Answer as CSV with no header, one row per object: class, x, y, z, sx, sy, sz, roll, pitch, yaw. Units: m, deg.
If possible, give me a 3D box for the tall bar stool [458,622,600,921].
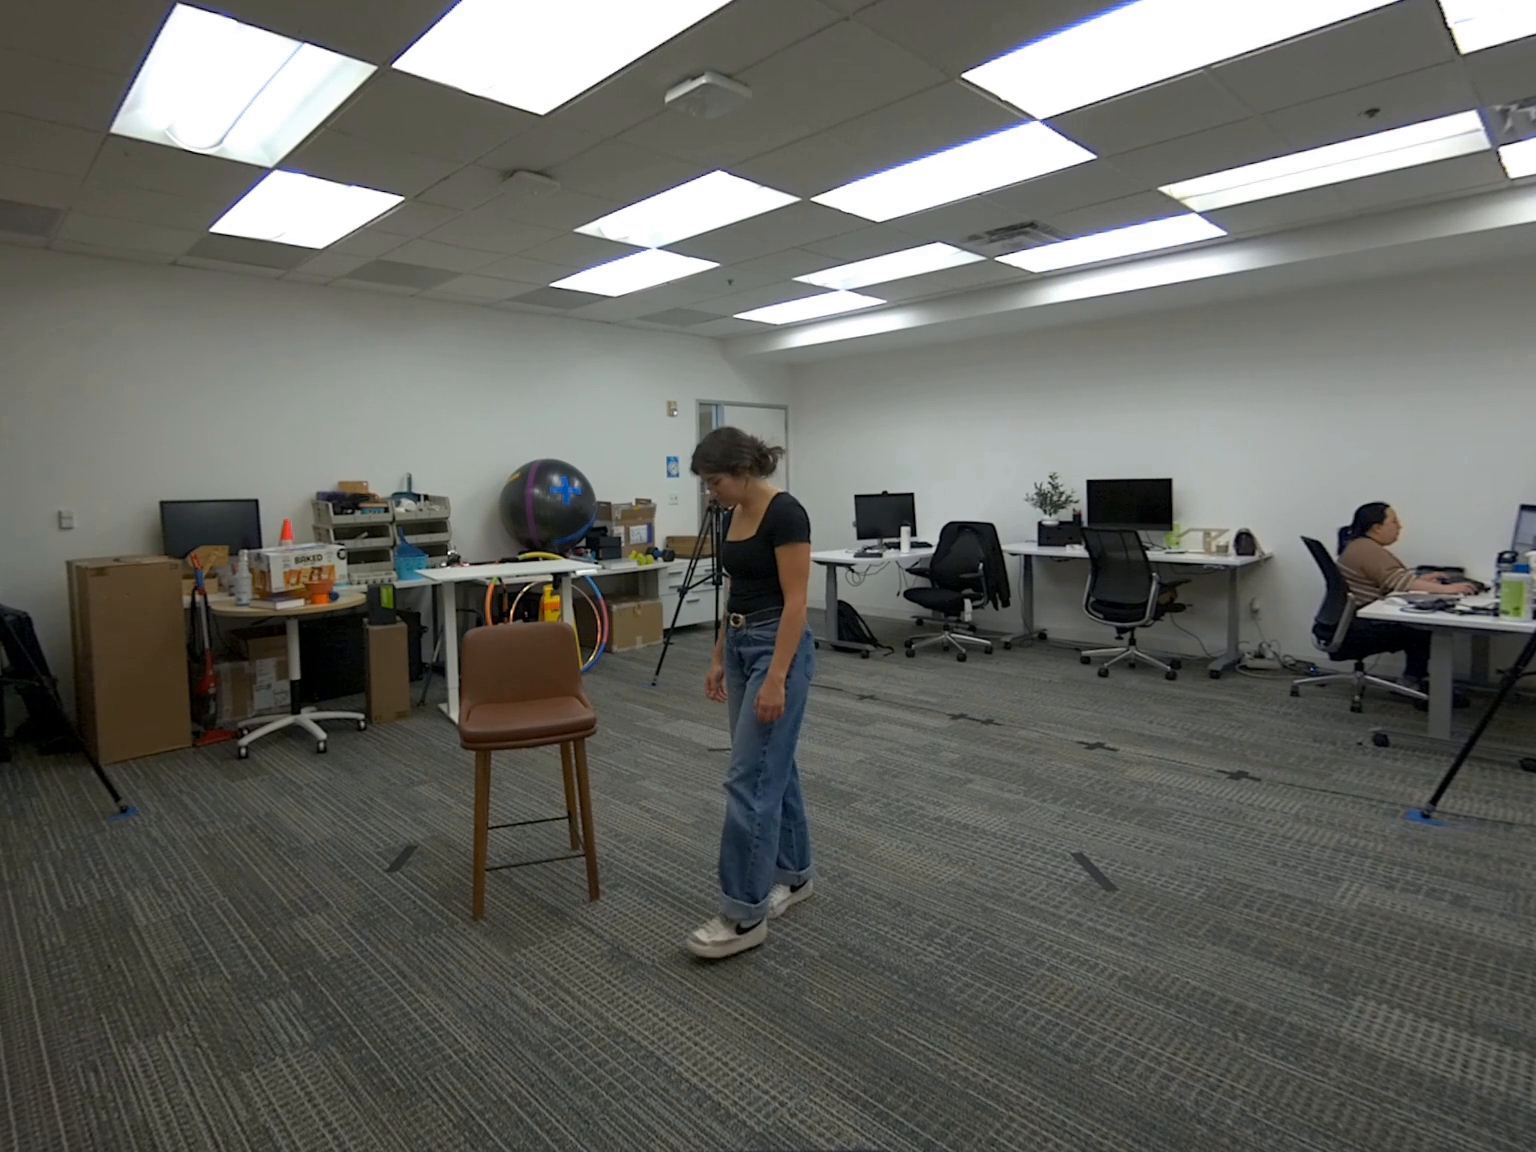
tall bar stool,-0.837,0.635,2.991,0.449,0.888,0.476,-3,2,-18
